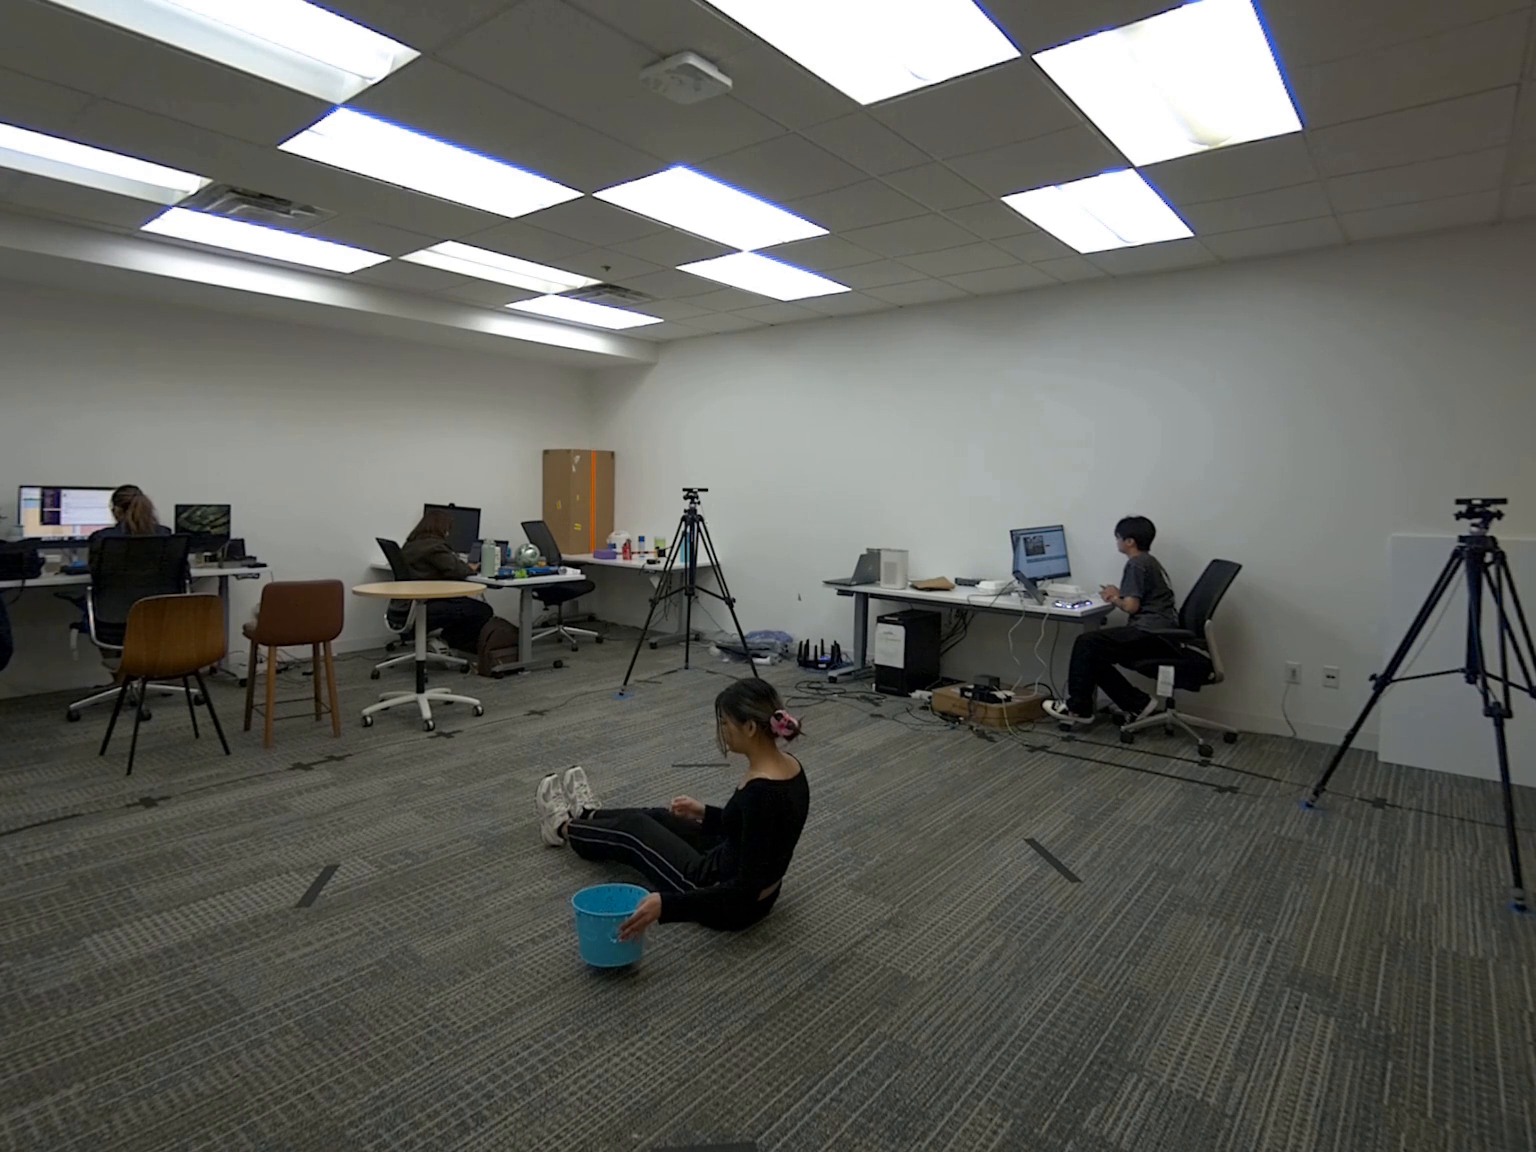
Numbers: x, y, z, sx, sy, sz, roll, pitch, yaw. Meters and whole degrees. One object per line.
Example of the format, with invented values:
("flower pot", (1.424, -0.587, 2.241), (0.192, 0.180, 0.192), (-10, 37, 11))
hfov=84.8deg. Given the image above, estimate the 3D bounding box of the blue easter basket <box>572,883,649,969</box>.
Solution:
("blue easter basket", (-0.463, 1.005, 2.471), (0.243, 0.156, 0.244), (1, 0, -2))
